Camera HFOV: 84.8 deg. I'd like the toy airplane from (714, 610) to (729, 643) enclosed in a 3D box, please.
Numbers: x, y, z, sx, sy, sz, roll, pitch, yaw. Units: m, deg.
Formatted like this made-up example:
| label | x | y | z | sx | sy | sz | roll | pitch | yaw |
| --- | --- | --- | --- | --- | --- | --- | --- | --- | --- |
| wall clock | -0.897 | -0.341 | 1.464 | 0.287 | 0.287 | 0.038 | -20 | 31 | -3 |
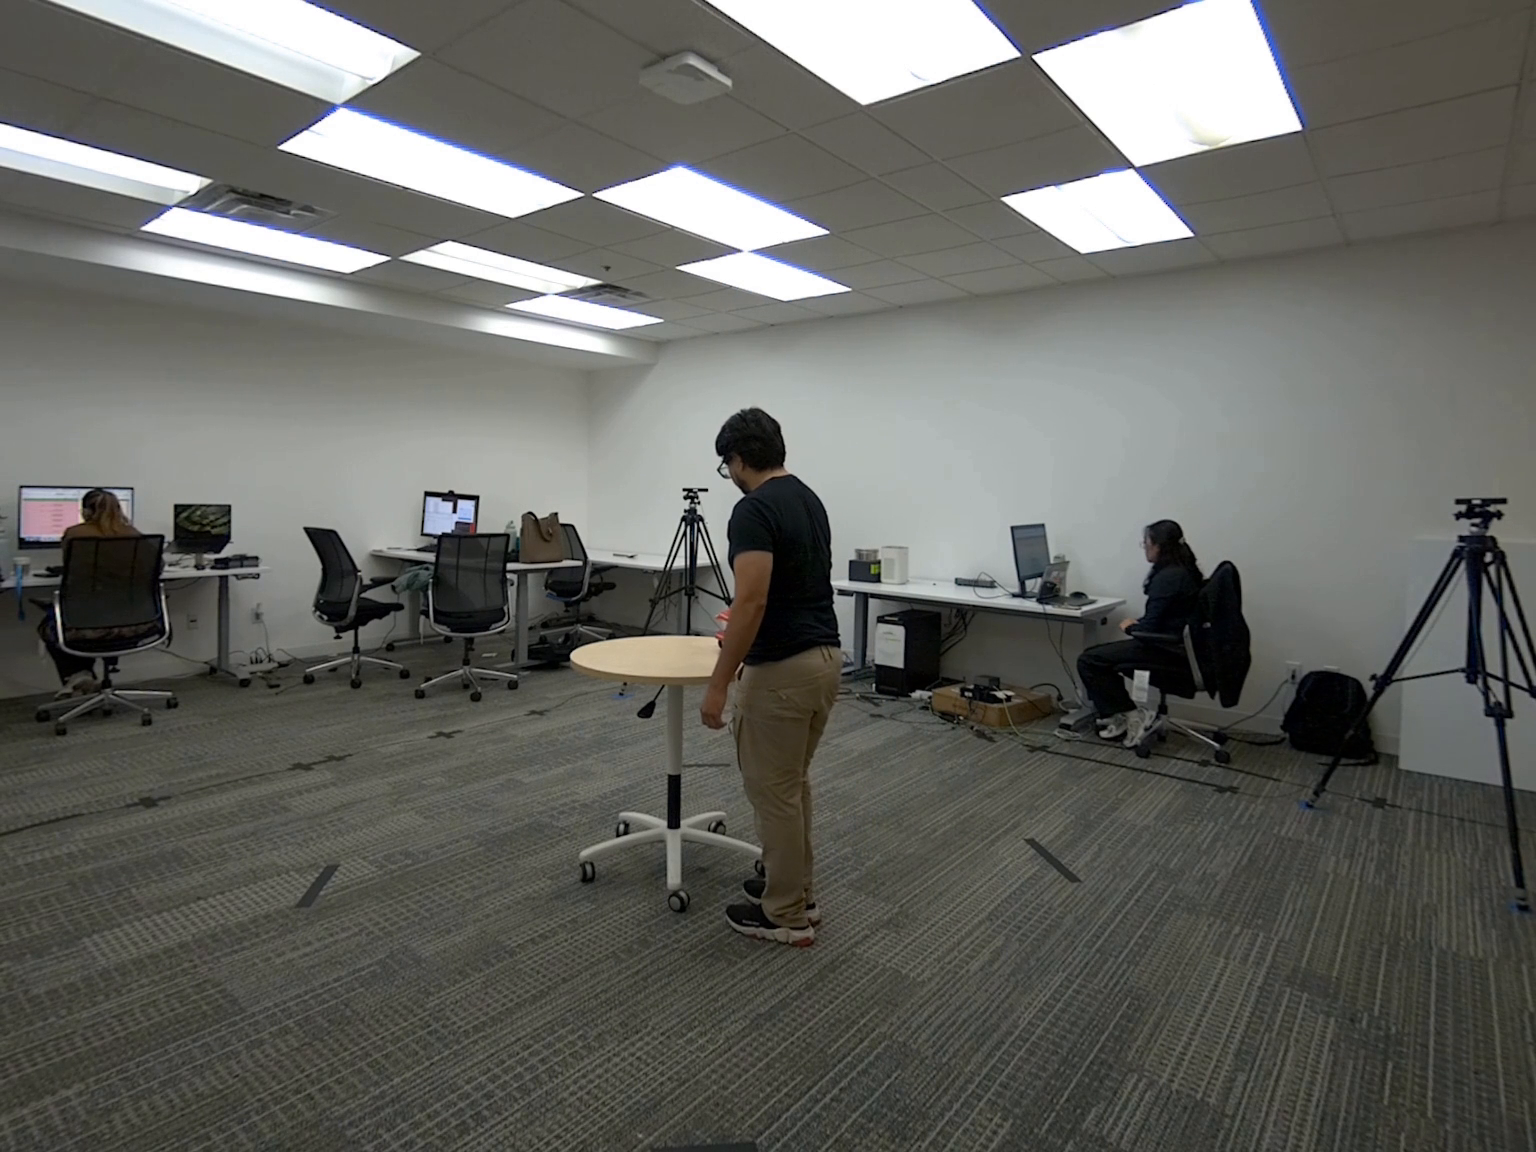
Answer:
| label | x | y | z | sx | sy | sz | roll | pitch | yaw |
| --- | --- | --- | --- | --- | --- | --- | --- | --- | --- |
| toy airplane | -0.069 | 0.200 | 3.194 | 0.262 | 0.156 | 0.249 | 0 | 5 | 10 |
